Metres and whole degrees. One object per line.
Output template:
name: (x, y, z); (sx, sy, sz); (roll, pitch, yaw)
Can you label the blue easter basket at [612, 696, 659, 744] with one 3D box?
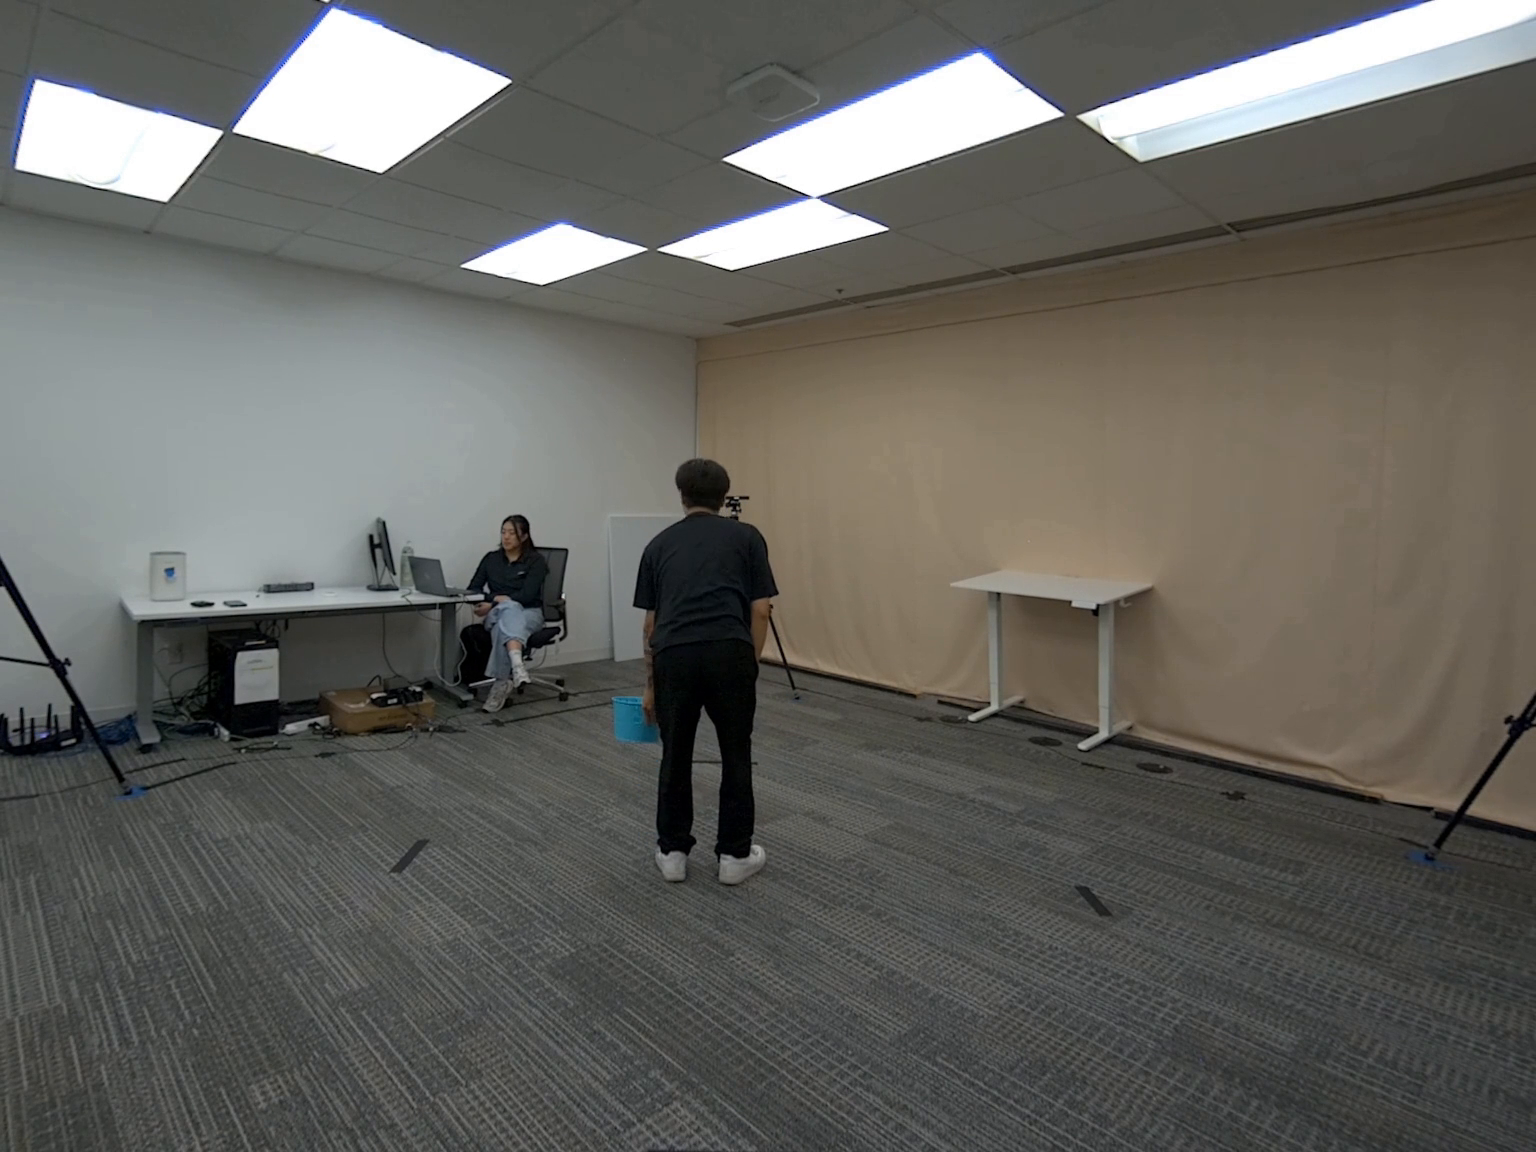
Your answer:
blue easter basket: (-0.519, 0.582, 3.379); (0.243, 0.156, 0.243); (5, -2, -1)
